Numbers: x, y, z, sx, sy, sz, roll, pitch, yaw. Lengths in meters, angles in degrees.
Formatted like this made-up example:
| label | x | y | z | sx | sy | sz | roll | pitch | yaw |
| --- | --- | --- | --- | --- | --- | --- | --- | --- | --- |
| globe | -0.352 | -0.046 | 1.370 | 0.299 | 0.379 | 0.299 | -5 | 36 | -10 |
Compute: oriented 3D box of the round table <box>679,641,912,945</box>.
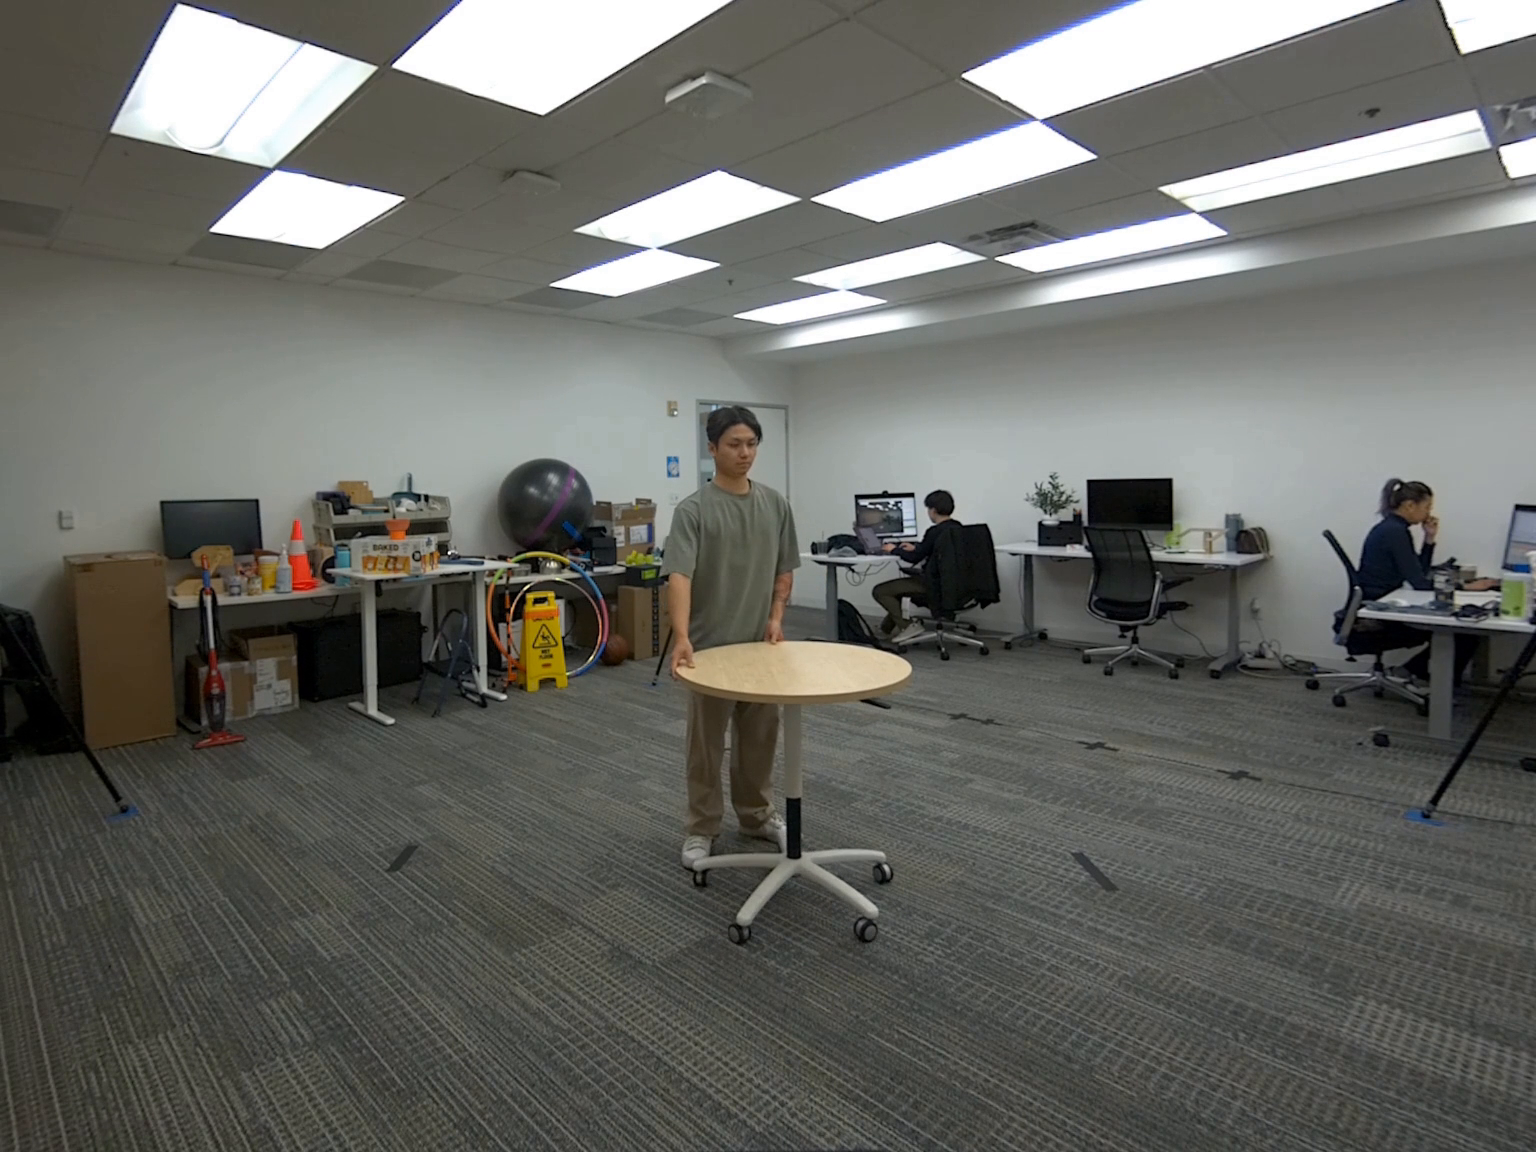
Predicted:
| label | x | y | z | sx | sy | sz | roll | pitch | yaw |
| --- | --- | --- | --- | --- | --- | --- | --- | --- | --- |
| round table | 0.077 | 0.681 | 2.827 | 0.784 | 0.783 | 0.789 | -1 | 5 | -2 |
